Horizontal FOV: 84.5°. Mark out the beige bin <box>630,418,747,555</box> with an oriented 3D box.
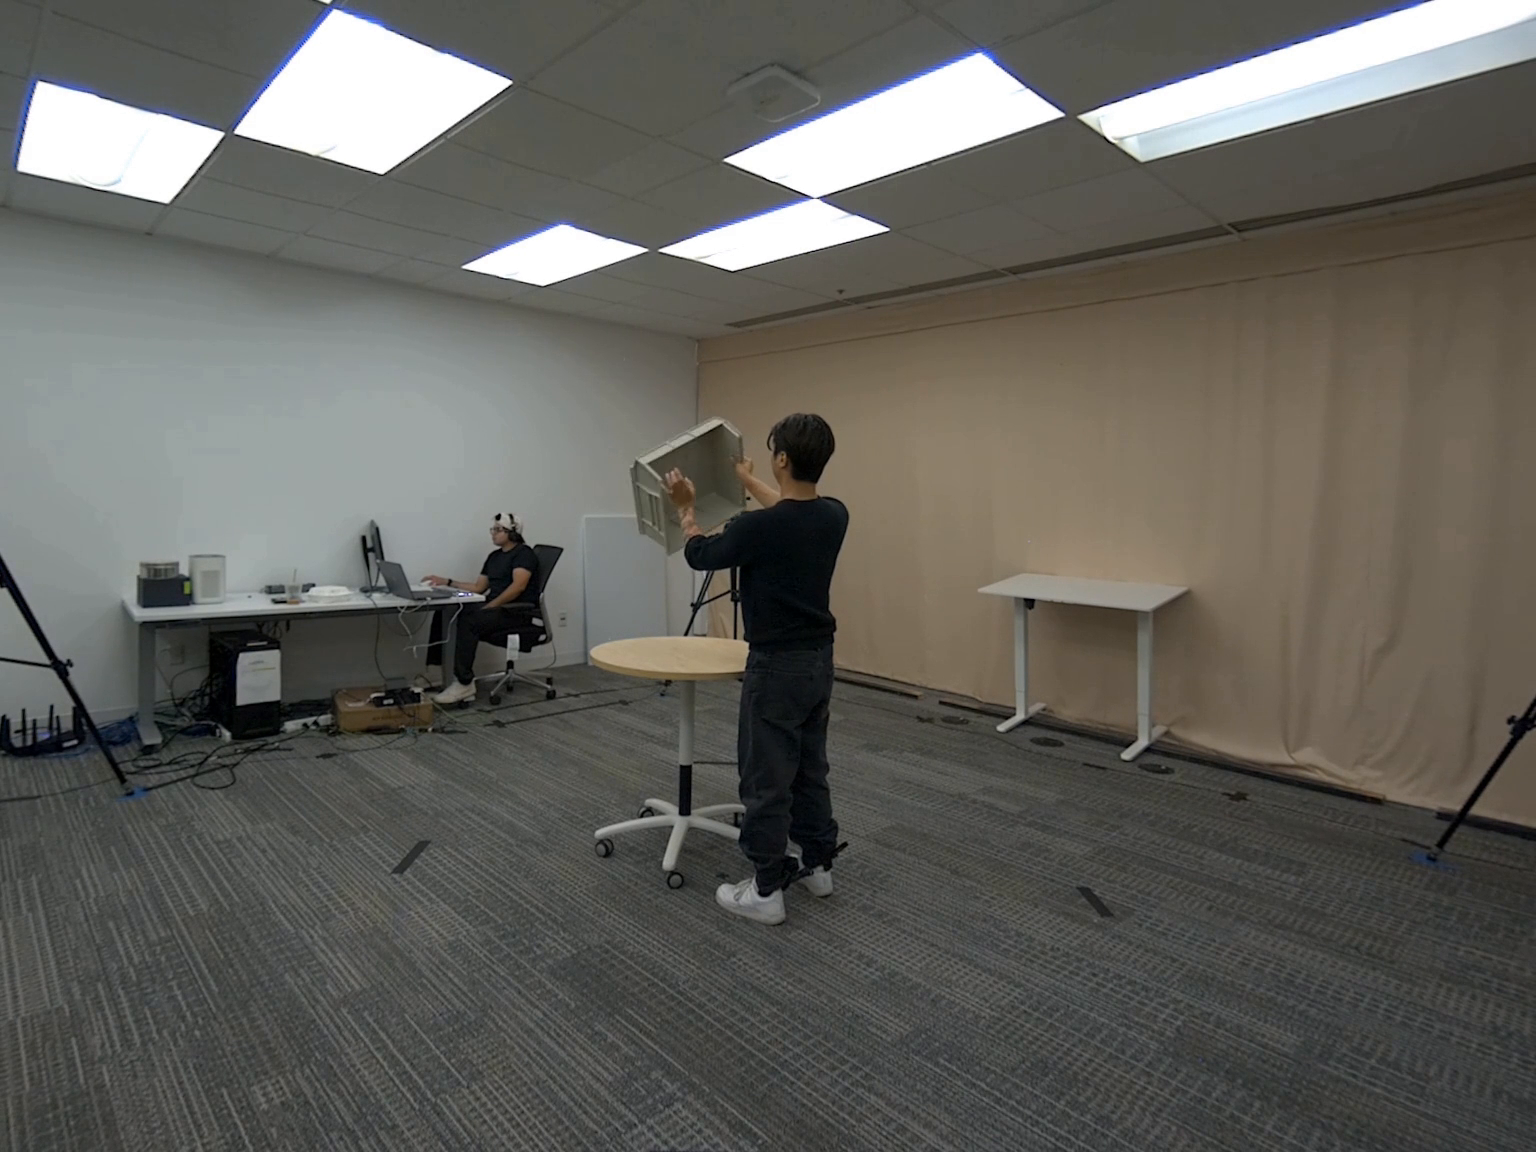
[{"bbox_3d":[-0.303,-0.357,3.245,0.194,0.369,0.419,29,49,34],"label":"beige bin"}]
